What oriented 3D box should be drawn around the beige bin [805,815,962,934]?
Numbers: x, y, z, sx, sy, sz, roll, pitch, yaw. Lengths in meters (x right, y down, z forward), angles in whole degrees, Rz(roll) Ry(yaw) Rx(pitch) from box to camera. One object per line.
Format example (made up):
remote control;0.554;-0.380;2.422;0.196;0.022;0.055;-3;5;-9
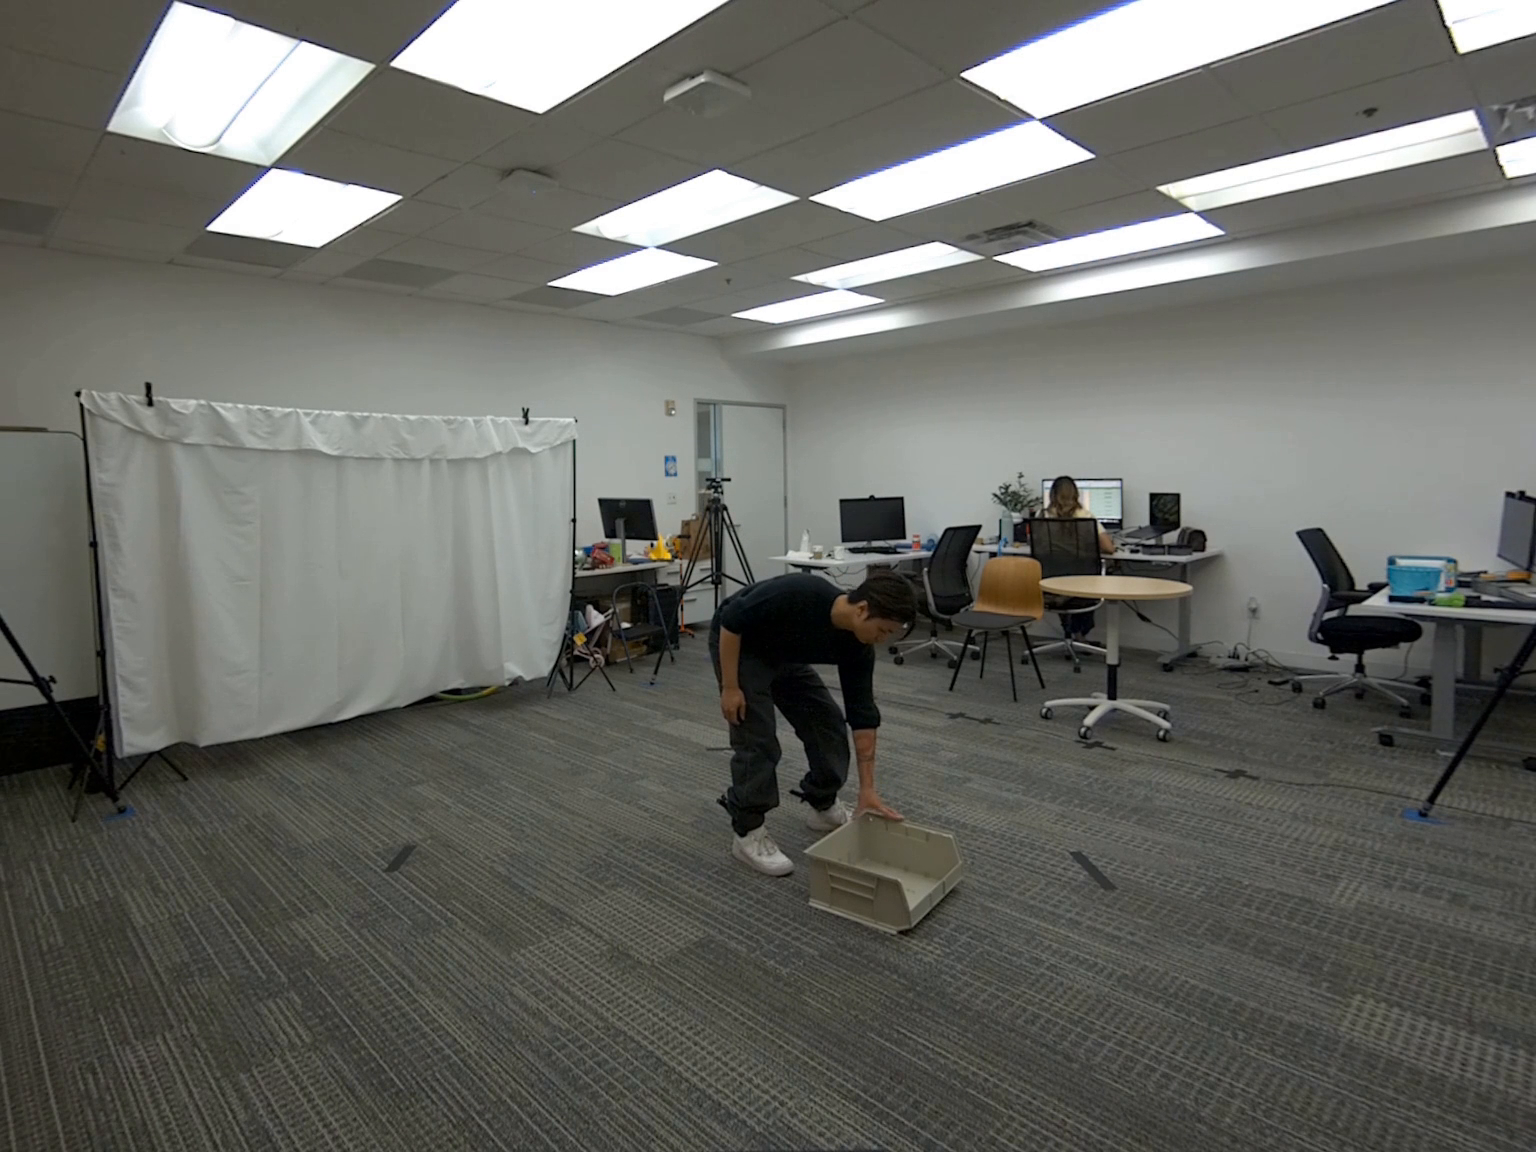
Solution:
beige bin;0.394;0.980;2.834;0.388;0.188;0.412;2;7;36
